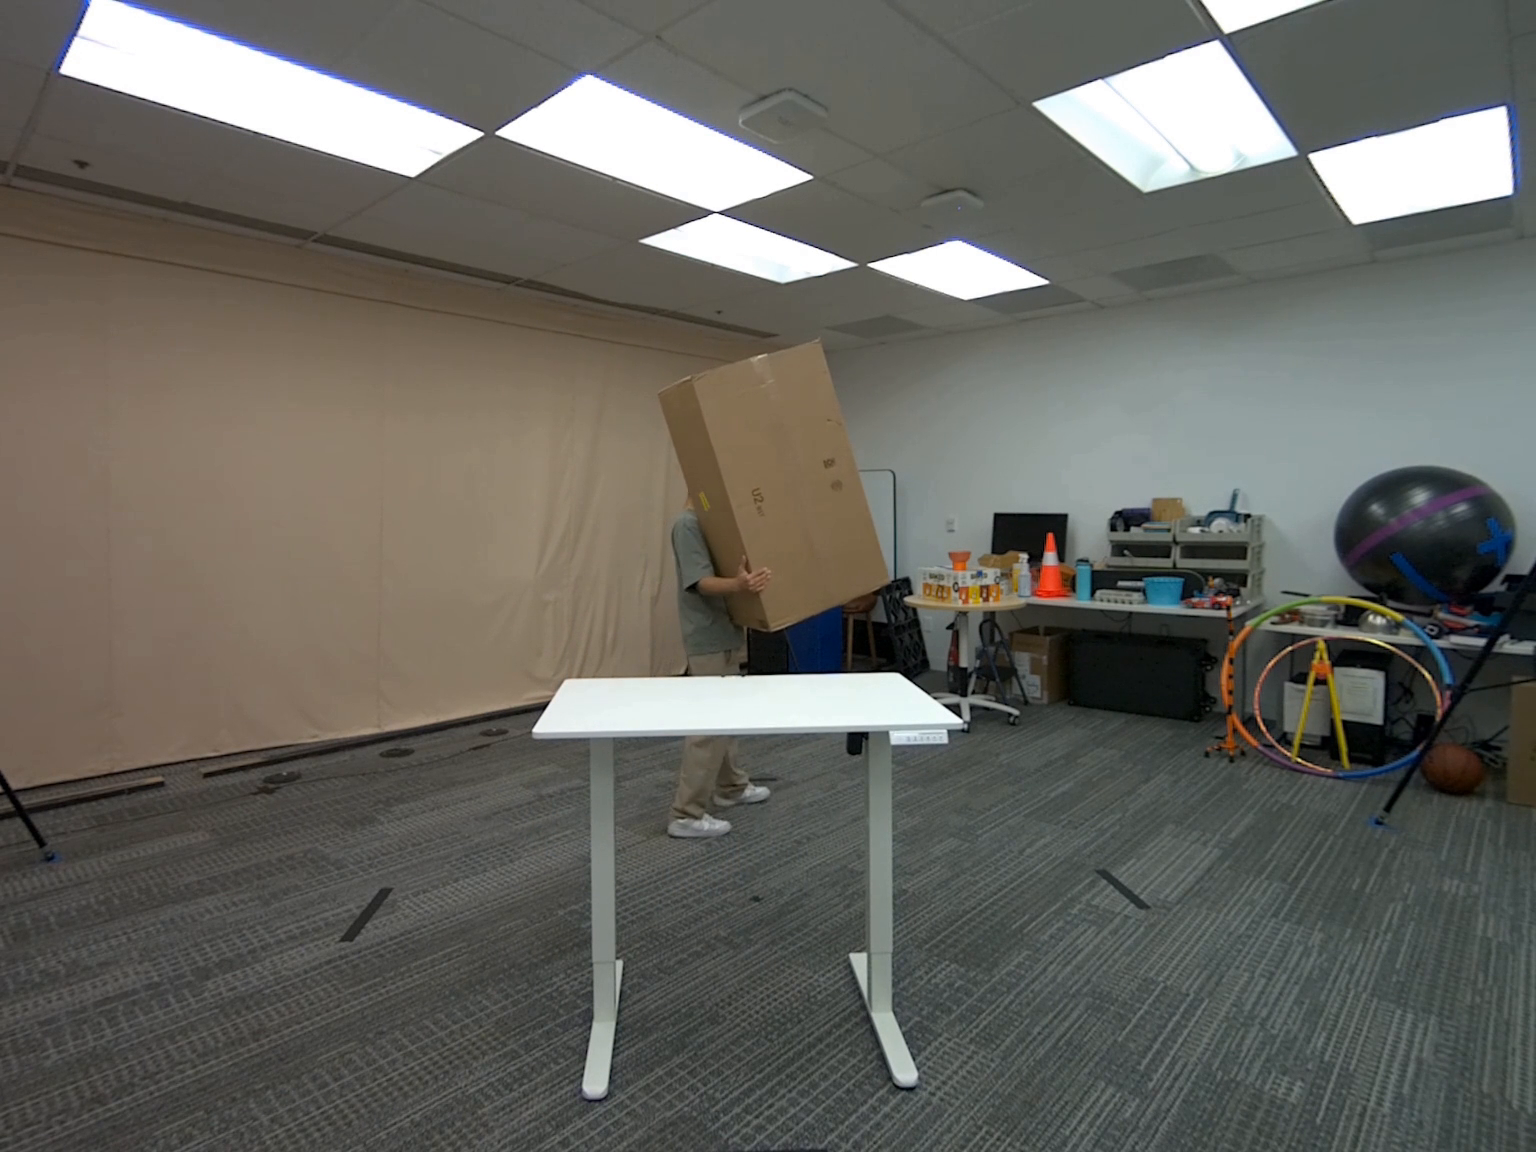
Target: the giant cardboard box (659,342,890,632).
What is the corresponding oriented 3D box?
[{"bbox_3d":[0.022,-0.360,3.467,0.568,1.018,0.436,-20,8,-22],"label":"giant cardboard box"}]
